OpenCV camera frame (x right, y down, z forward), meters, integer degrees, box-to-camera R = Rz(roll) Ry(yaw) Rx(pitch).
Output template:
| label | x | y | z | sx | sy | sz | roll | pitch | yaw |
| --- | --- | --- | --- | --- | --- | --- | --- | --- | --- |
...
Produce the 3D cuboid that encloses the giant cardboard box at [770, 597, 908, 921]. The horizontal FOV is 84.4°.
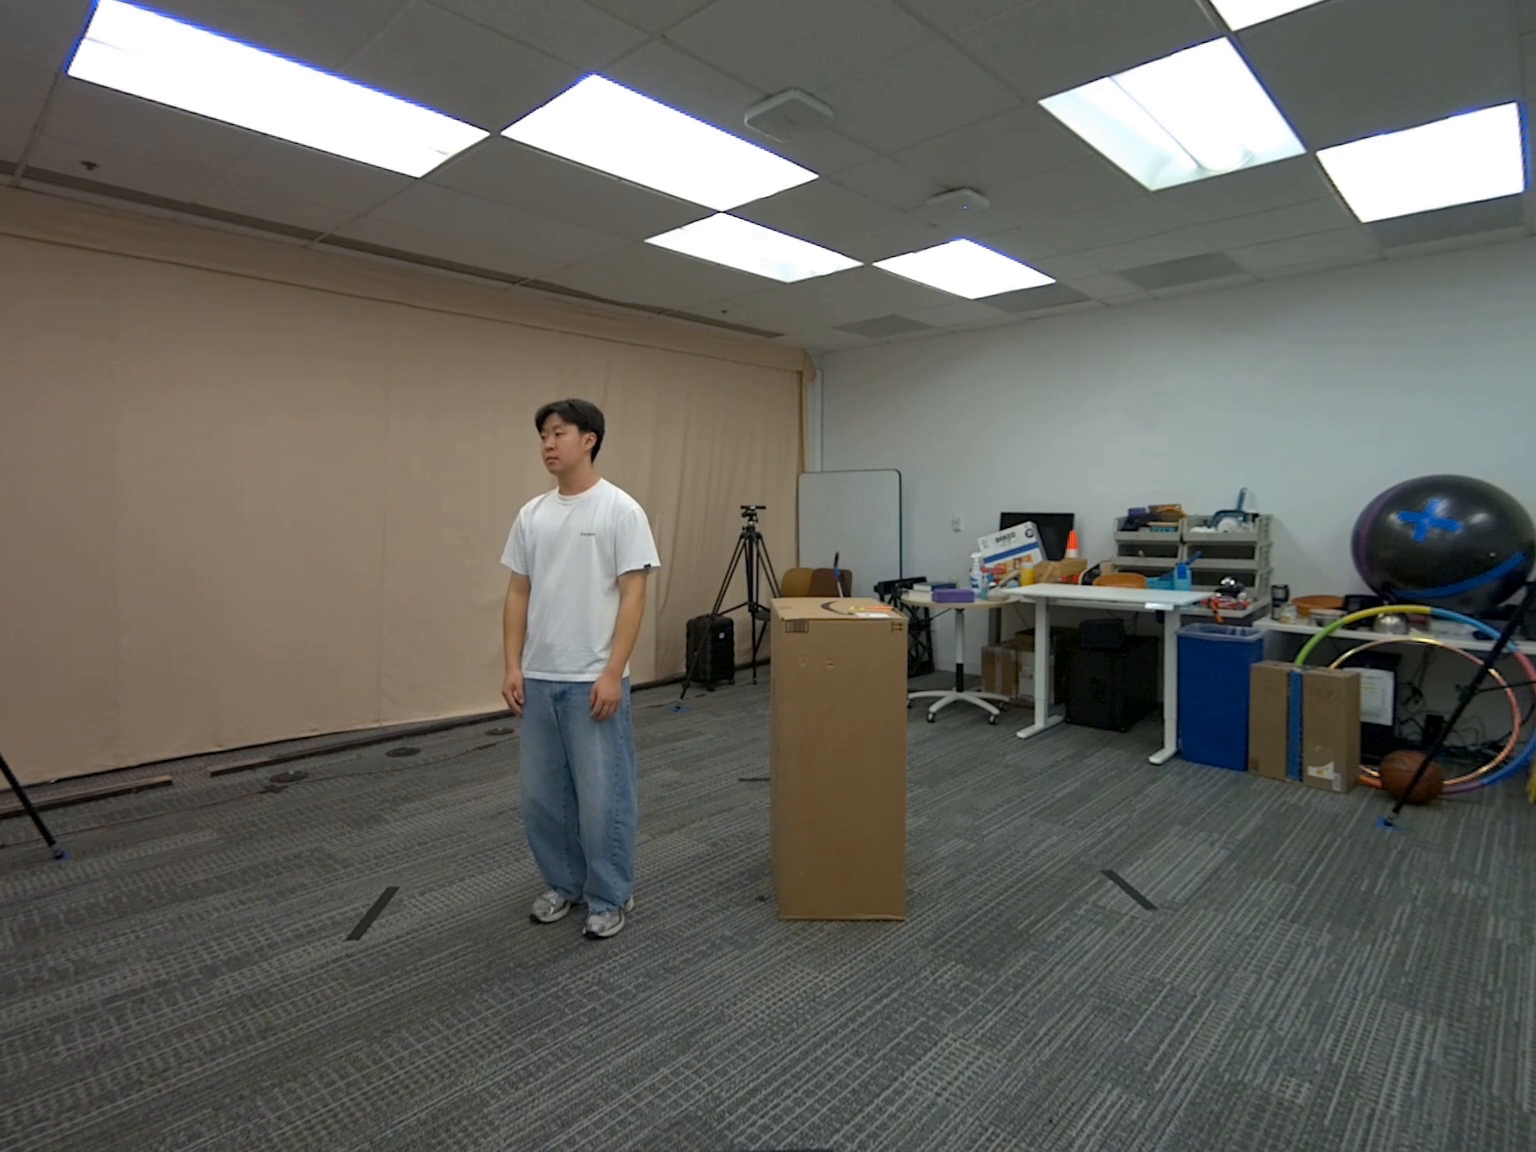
| label | x | y | z | sx | sy | sz | roll | pitch | yaw |
| --- | --- | --- | --- | --- | --- | --- | --- | --- | --- |
| giant cardboard box | 0.248 | 0.629 | 3.083 | 0.425 | 1.024 | 0.580 | 1 | 3 | -4 |
